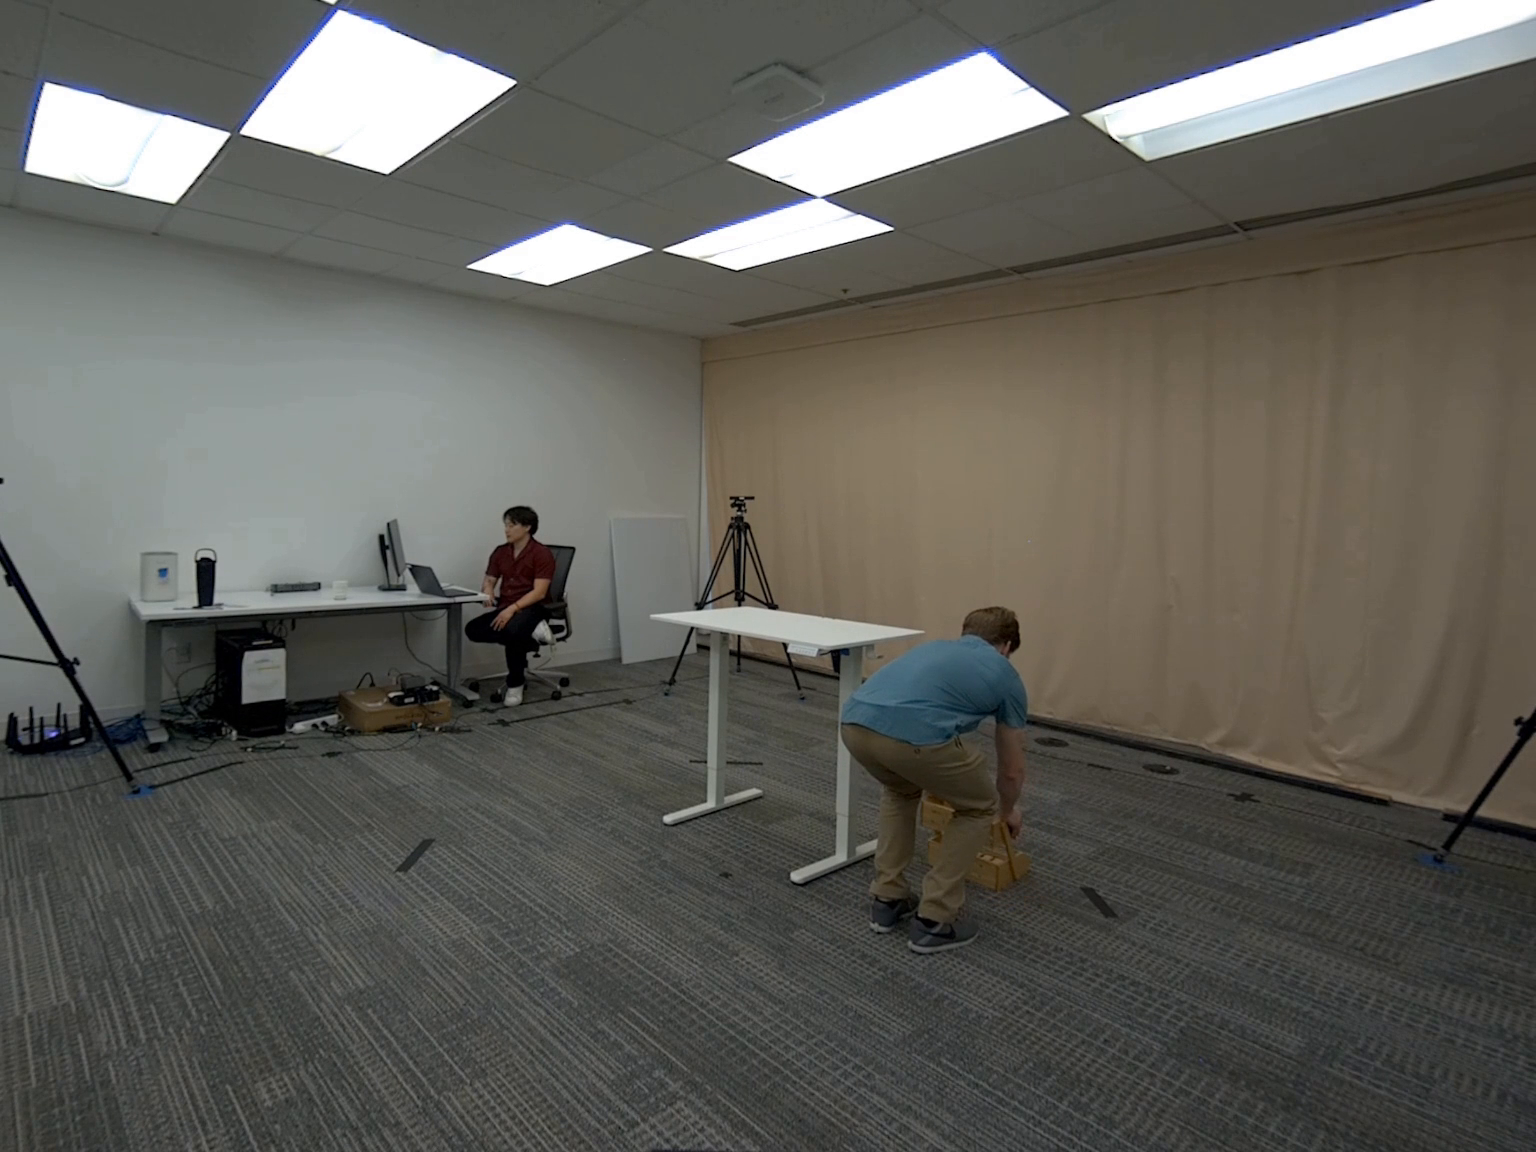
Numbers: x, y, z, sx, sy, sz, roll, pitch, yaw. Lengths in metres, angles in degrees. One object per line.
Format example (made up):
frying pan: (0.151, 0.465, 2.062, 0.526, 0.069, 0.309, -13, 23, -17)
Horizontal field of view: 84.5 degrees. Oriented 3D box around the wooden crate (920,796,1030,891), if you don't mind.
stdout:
wooden crate: (0.784, 0.986, 3.208, 0.333, 0.272, 0.295, 5, 6, 42)
